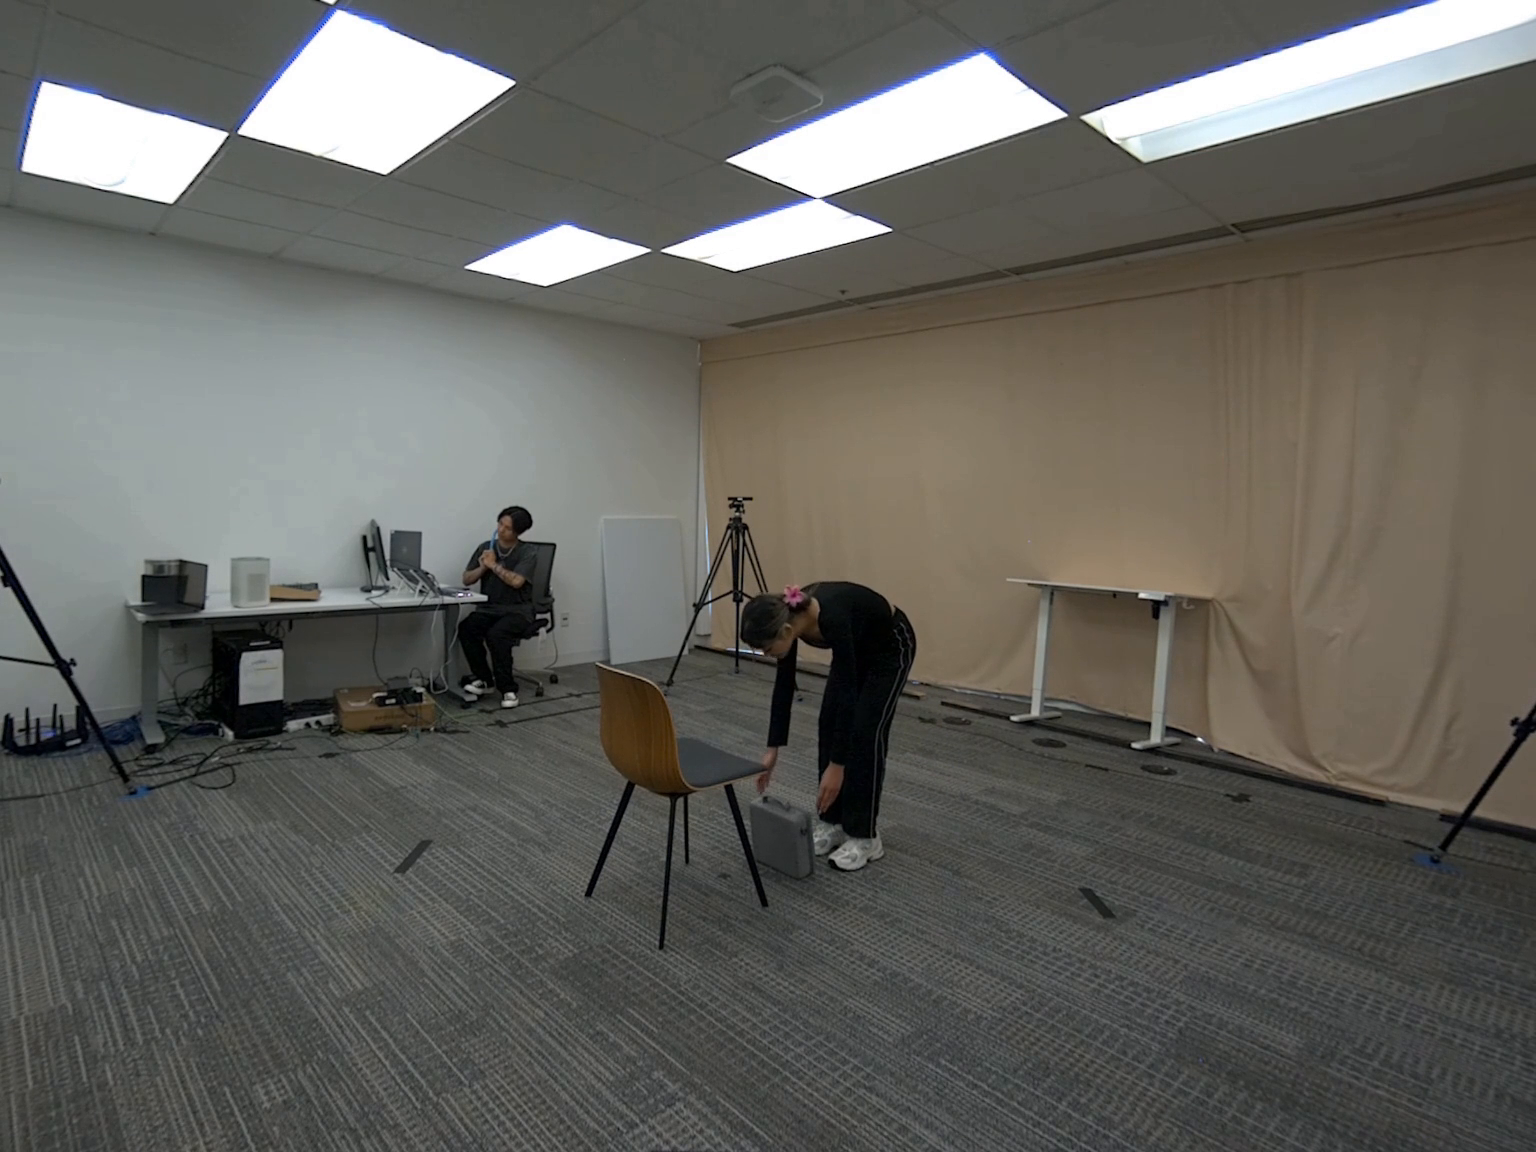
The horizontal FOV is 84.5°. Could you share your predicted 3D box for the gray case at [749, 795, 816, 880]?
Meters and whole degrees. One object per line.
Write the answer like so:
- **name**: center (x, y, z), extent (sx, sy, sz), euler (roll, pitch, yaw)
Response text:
- **gray case**: center (0.046, 0.975, 3.167), extent (0.102, 0.258, 0.263), euler (-14, 13, -41)
